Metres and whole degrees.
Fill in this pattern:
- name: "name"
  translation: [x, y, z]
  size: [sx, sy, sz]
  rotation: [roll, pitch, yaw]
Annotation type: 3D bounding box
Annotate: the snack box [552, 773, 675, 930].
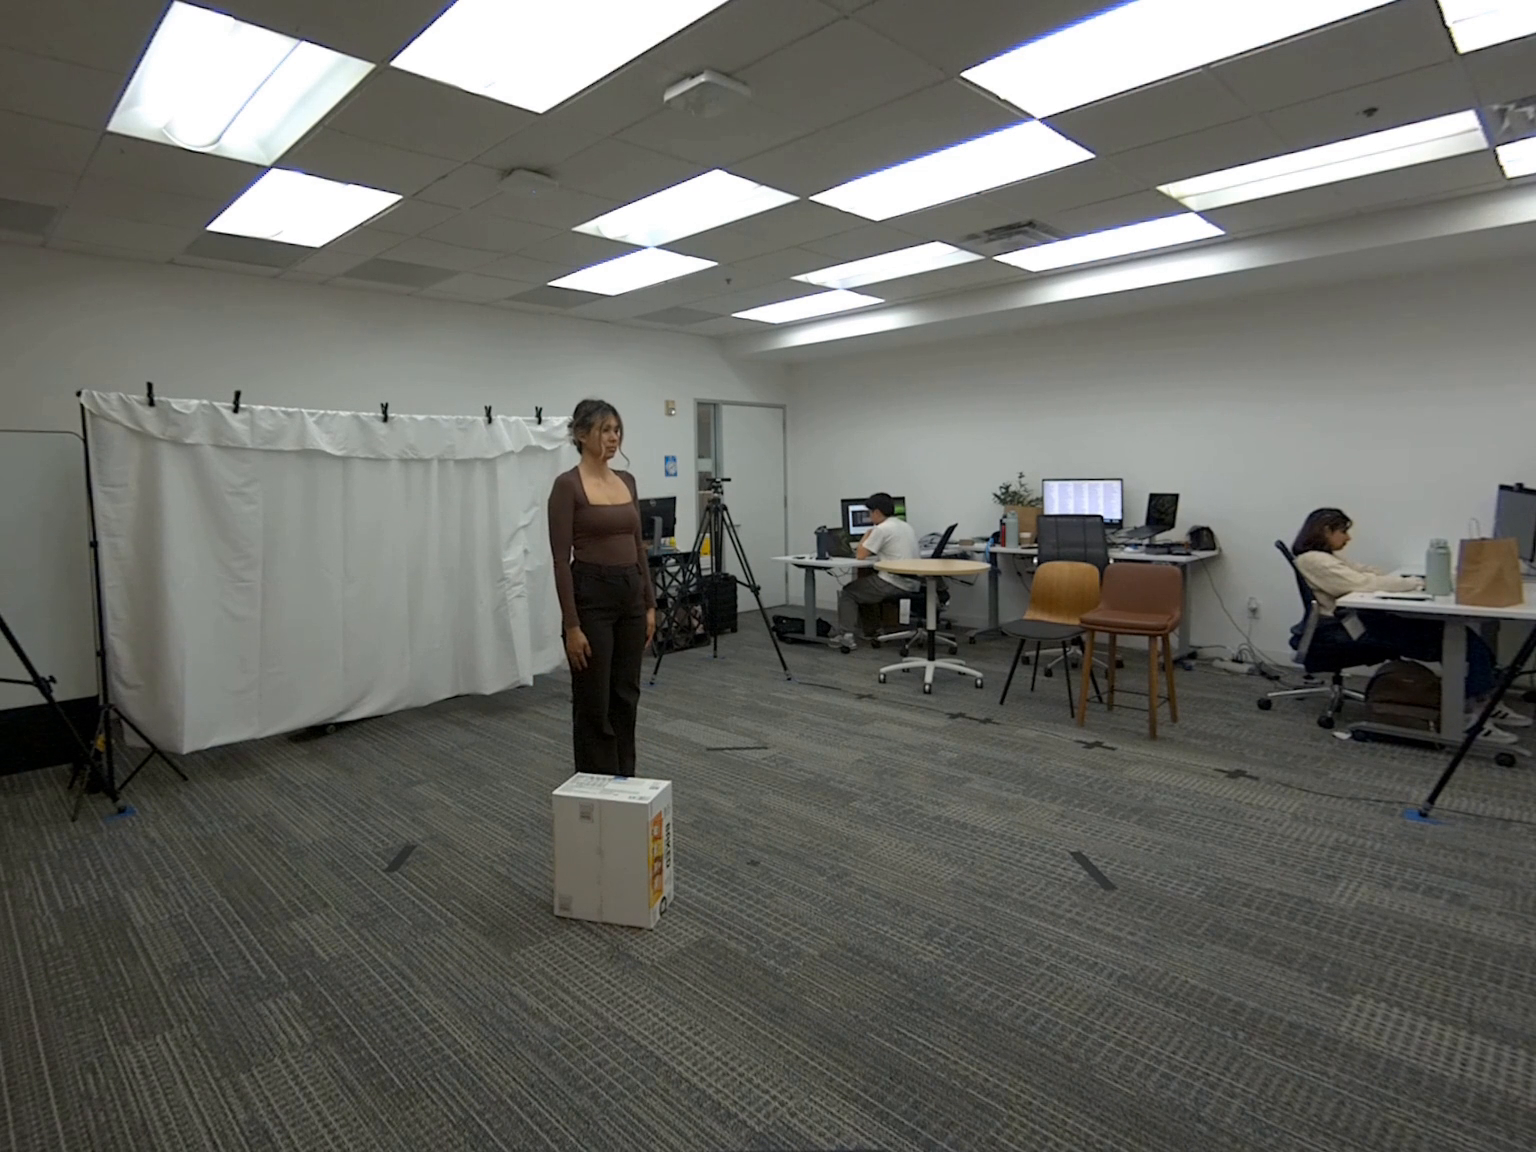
- name: "snack box"
  translation: [-0.506, 0.888, 2.784]
  size: [0.346, 0.403, 0.203]
  rotation: [0, 5, 16]
